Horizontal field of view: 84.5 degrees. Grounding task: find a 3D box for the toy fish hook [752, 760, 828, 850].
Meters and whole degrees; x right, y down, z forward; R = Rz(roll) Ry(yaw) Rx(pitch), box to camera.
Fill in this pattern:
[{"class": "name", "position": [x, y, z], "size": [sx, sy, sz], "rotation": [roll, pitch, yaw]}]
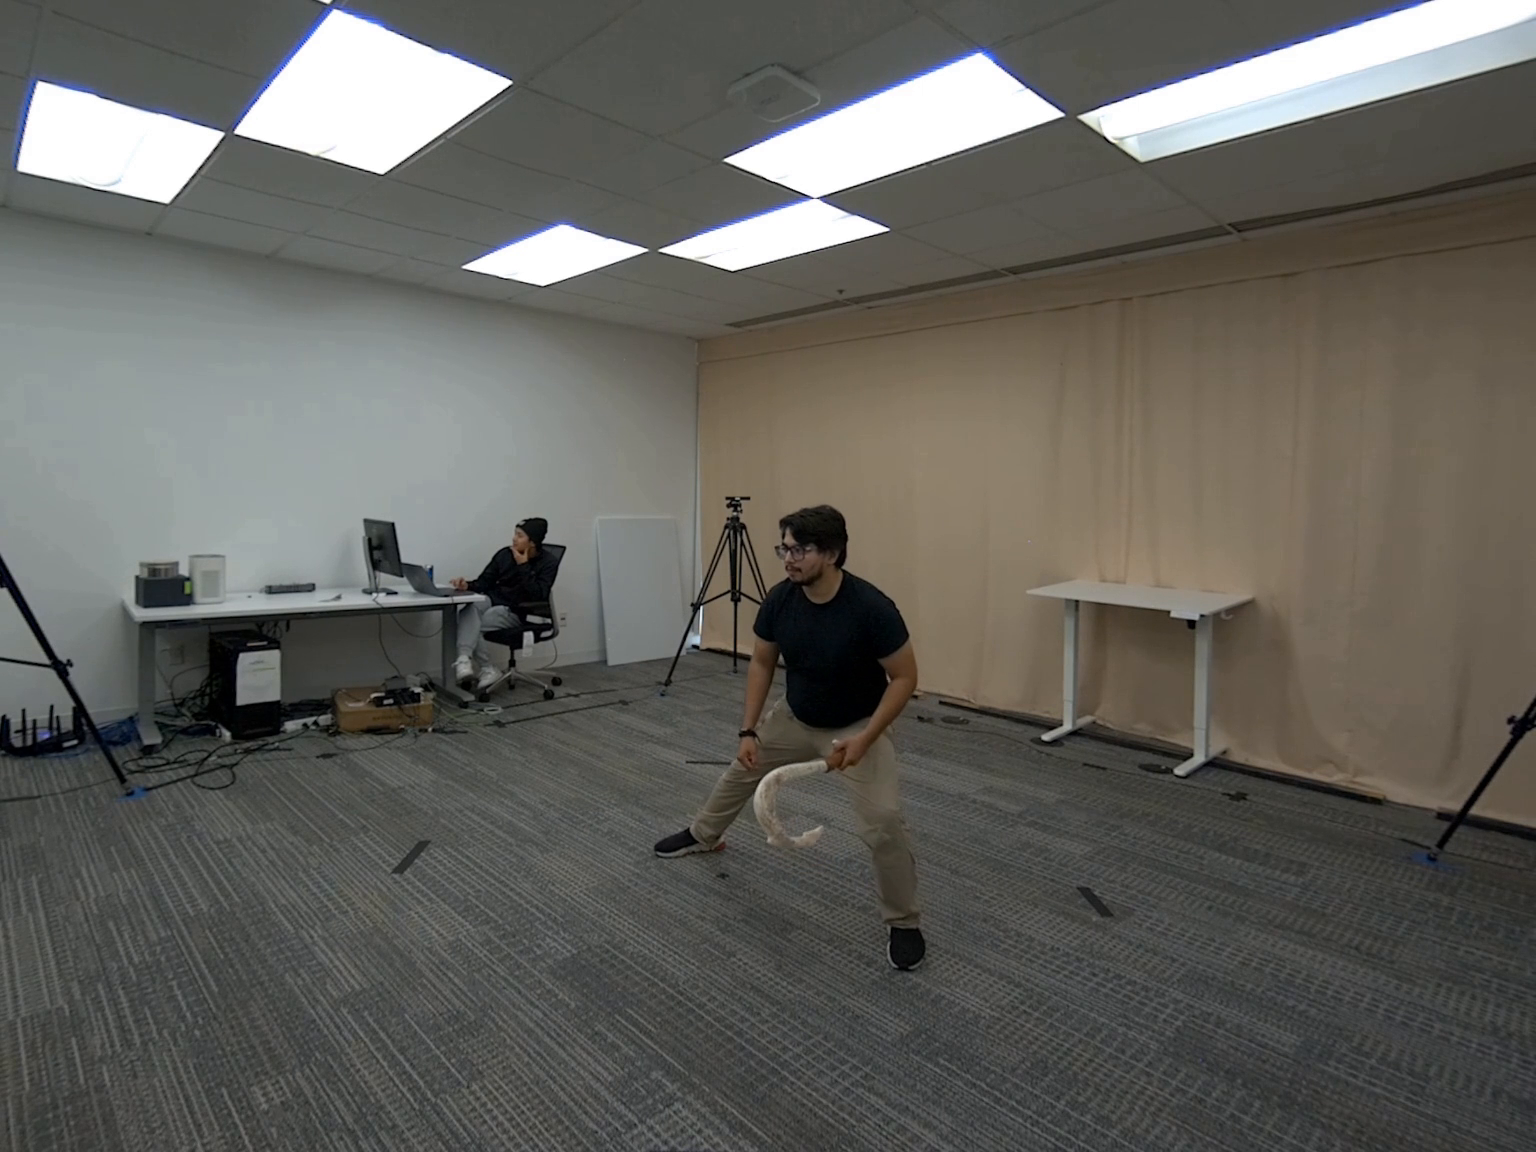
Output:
[{"class": "toy fish hook", "position": [0.137, 0.621, 2.430], "size": [0.499, 0.225, 0.049], "rotation": [-20, -4, -44]}]
